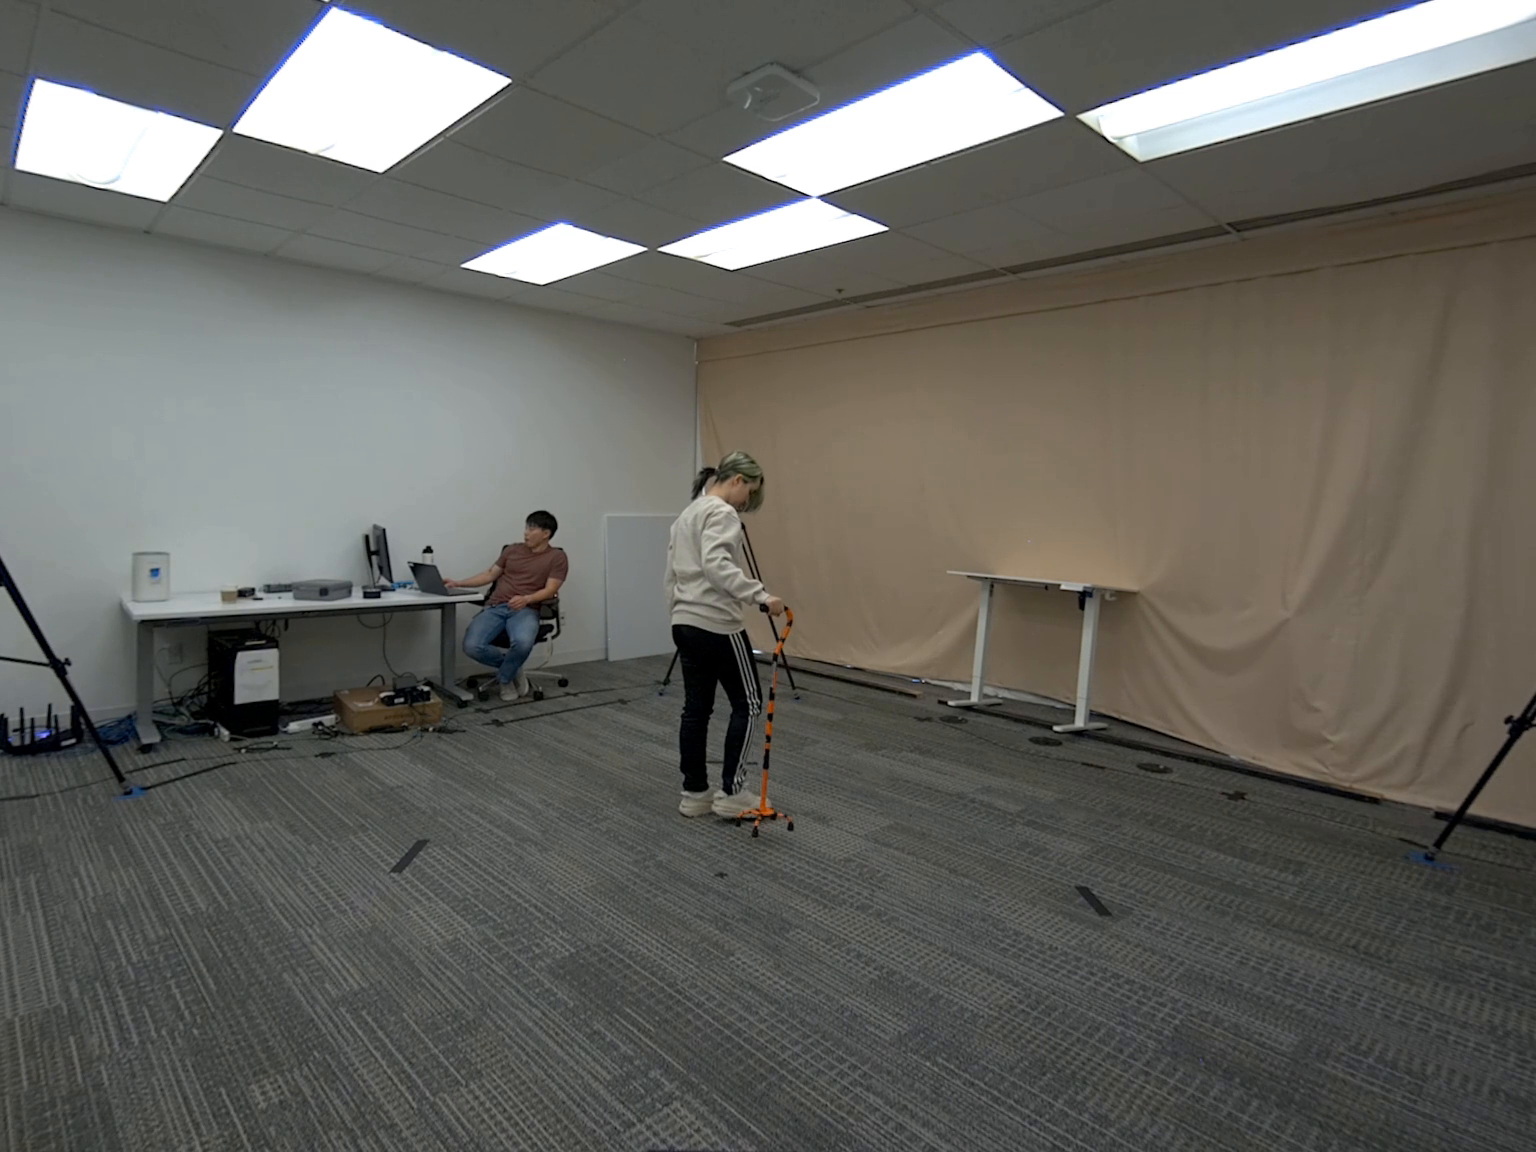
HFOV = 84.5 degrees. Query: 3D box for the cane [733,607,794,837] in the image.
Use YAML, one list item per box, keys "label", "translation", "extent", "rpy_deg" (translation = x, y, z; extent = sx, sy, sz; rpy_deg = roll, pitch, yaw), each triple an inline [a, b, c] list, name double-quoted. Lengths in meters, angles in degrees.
- label: "cane"
  translation: [0.023, 0.576, 3.384]
  extent: [0.201, 0.906, 0.155]
  rpy_deg: [3, 3, -40]
